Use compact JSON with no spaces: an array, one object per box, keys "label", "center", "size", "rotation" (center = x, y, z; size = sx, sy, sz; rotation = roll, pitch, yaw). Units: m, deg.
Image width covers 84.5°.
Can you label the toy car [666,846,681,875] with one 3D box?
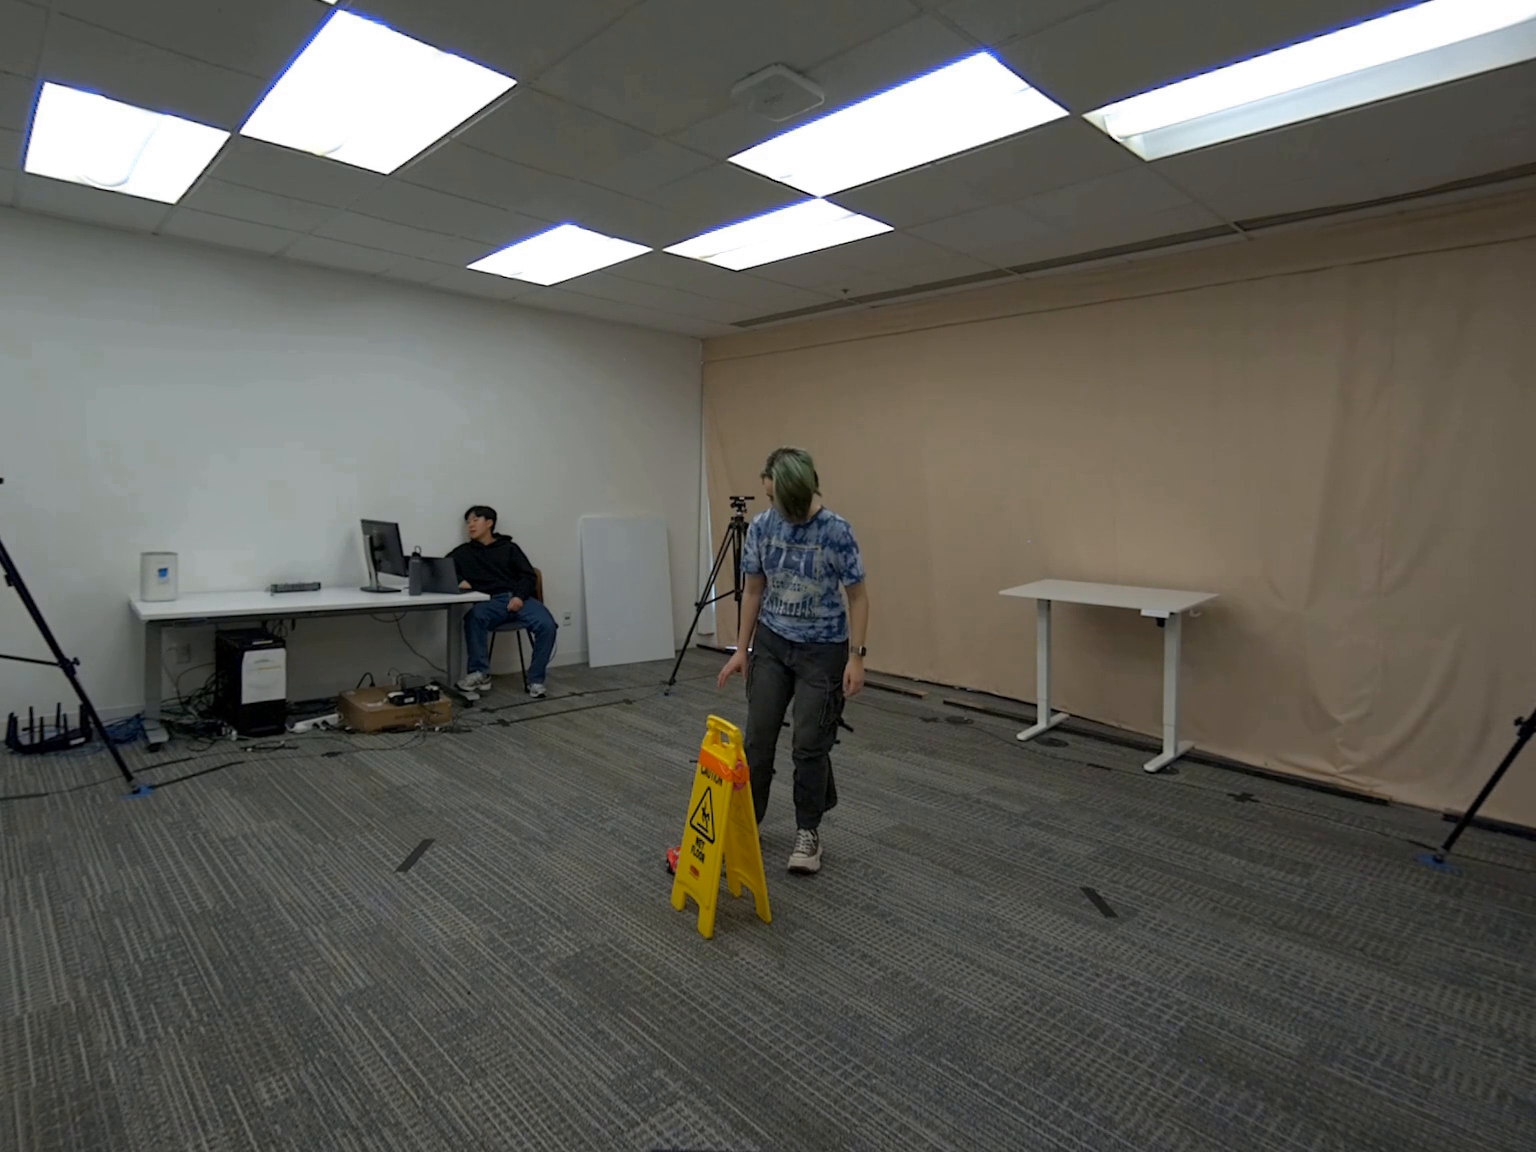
[{"label":"toy car","center":[-0.302,1.075,3.087],"size":[0.128,0.082,0.261],"rotation":[0,18,-23]}]
